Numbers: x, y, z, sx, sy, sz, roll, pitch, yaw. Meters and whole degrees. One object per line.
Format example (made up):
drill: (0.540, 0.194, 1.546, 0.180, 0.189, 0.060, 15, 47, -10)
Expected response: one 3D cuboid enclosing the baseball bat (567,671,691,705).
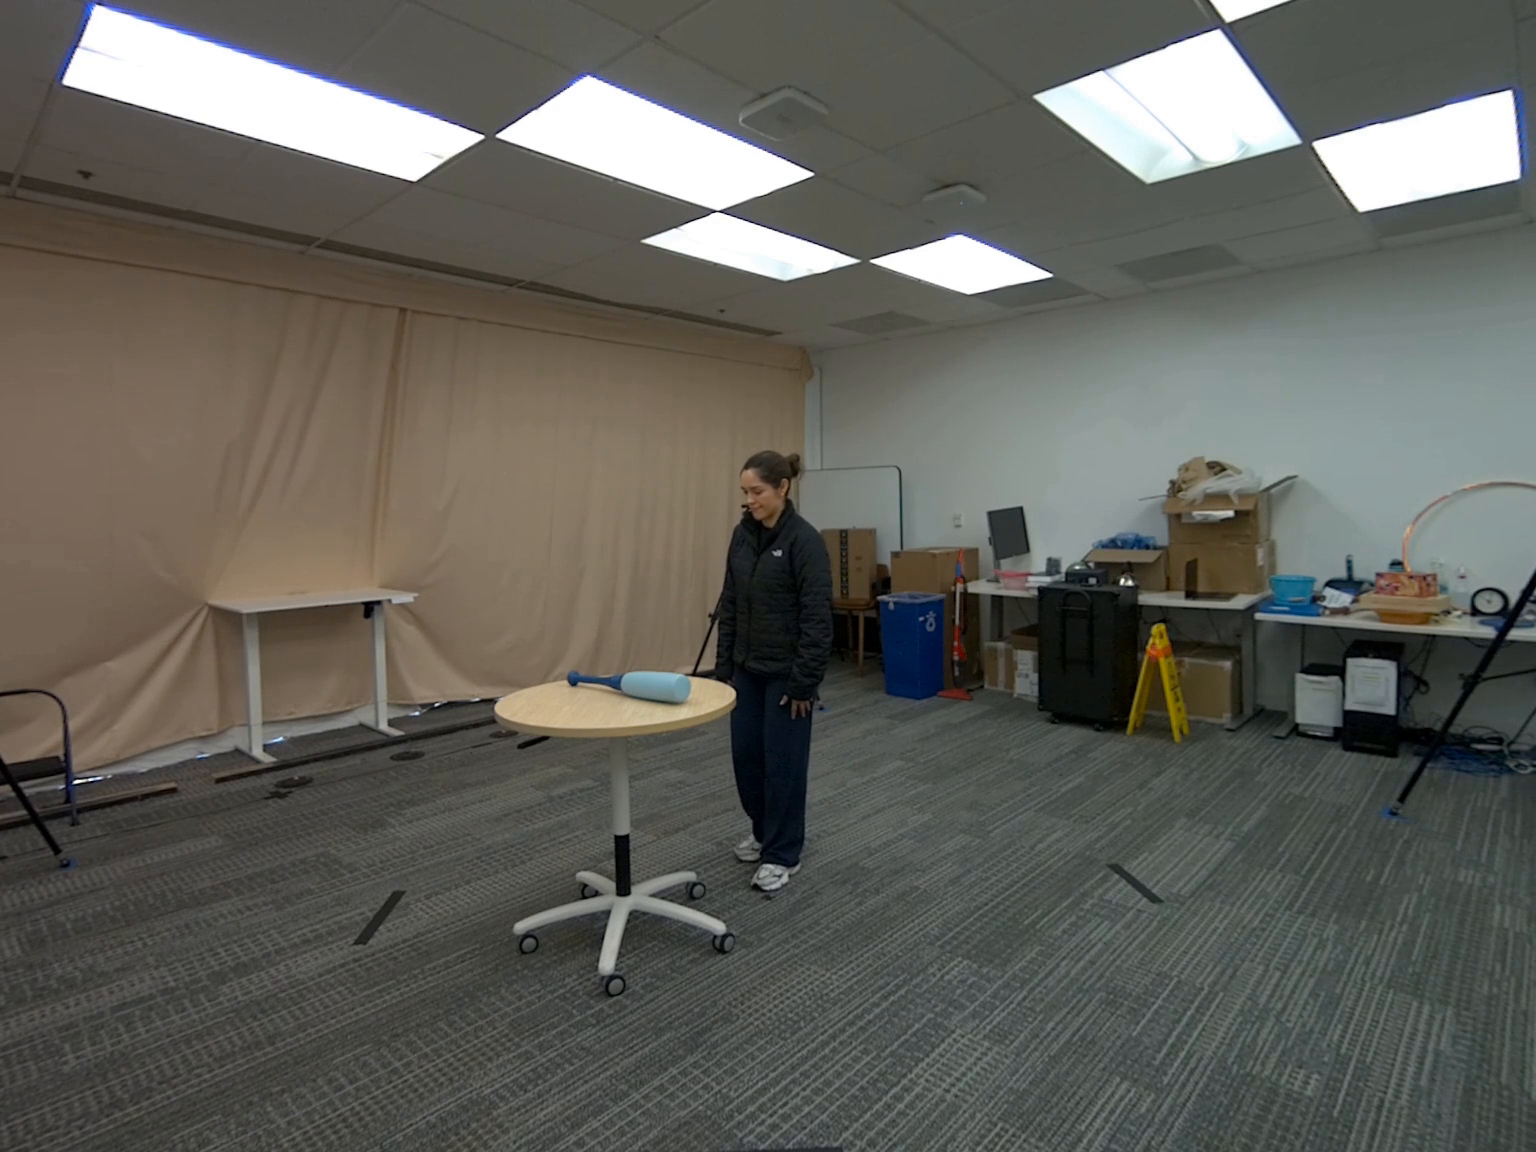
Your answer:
baseball bat: (-0.453, 0.350, 2.745, 0.560, 0.089, 0.086, -2, 2, 38)
